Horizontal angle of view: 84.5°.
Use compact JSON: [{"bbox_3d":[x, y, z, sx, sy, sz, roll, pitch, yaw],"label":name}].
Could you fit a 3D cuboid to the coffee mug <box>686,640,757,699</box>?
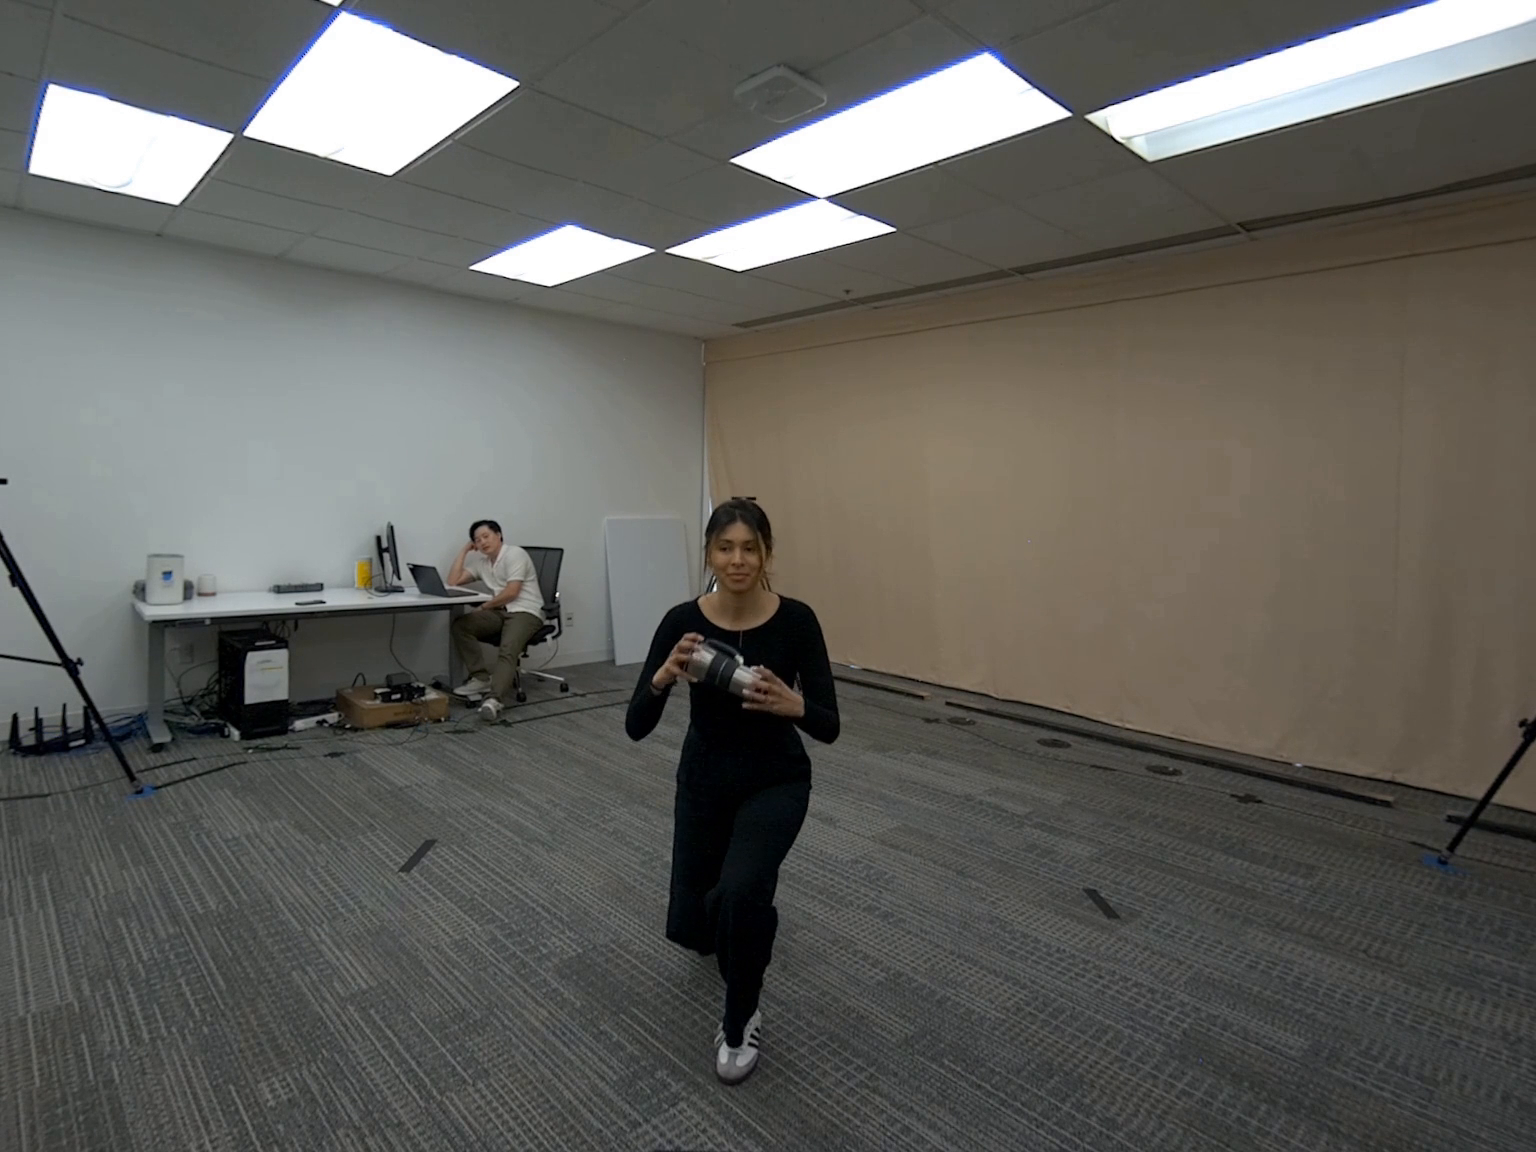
[{"bbox_3d":[-0.116,0.222,1.972,0.206,0.123,0.086,19,-25,15],"label":"coffee mug"}]
